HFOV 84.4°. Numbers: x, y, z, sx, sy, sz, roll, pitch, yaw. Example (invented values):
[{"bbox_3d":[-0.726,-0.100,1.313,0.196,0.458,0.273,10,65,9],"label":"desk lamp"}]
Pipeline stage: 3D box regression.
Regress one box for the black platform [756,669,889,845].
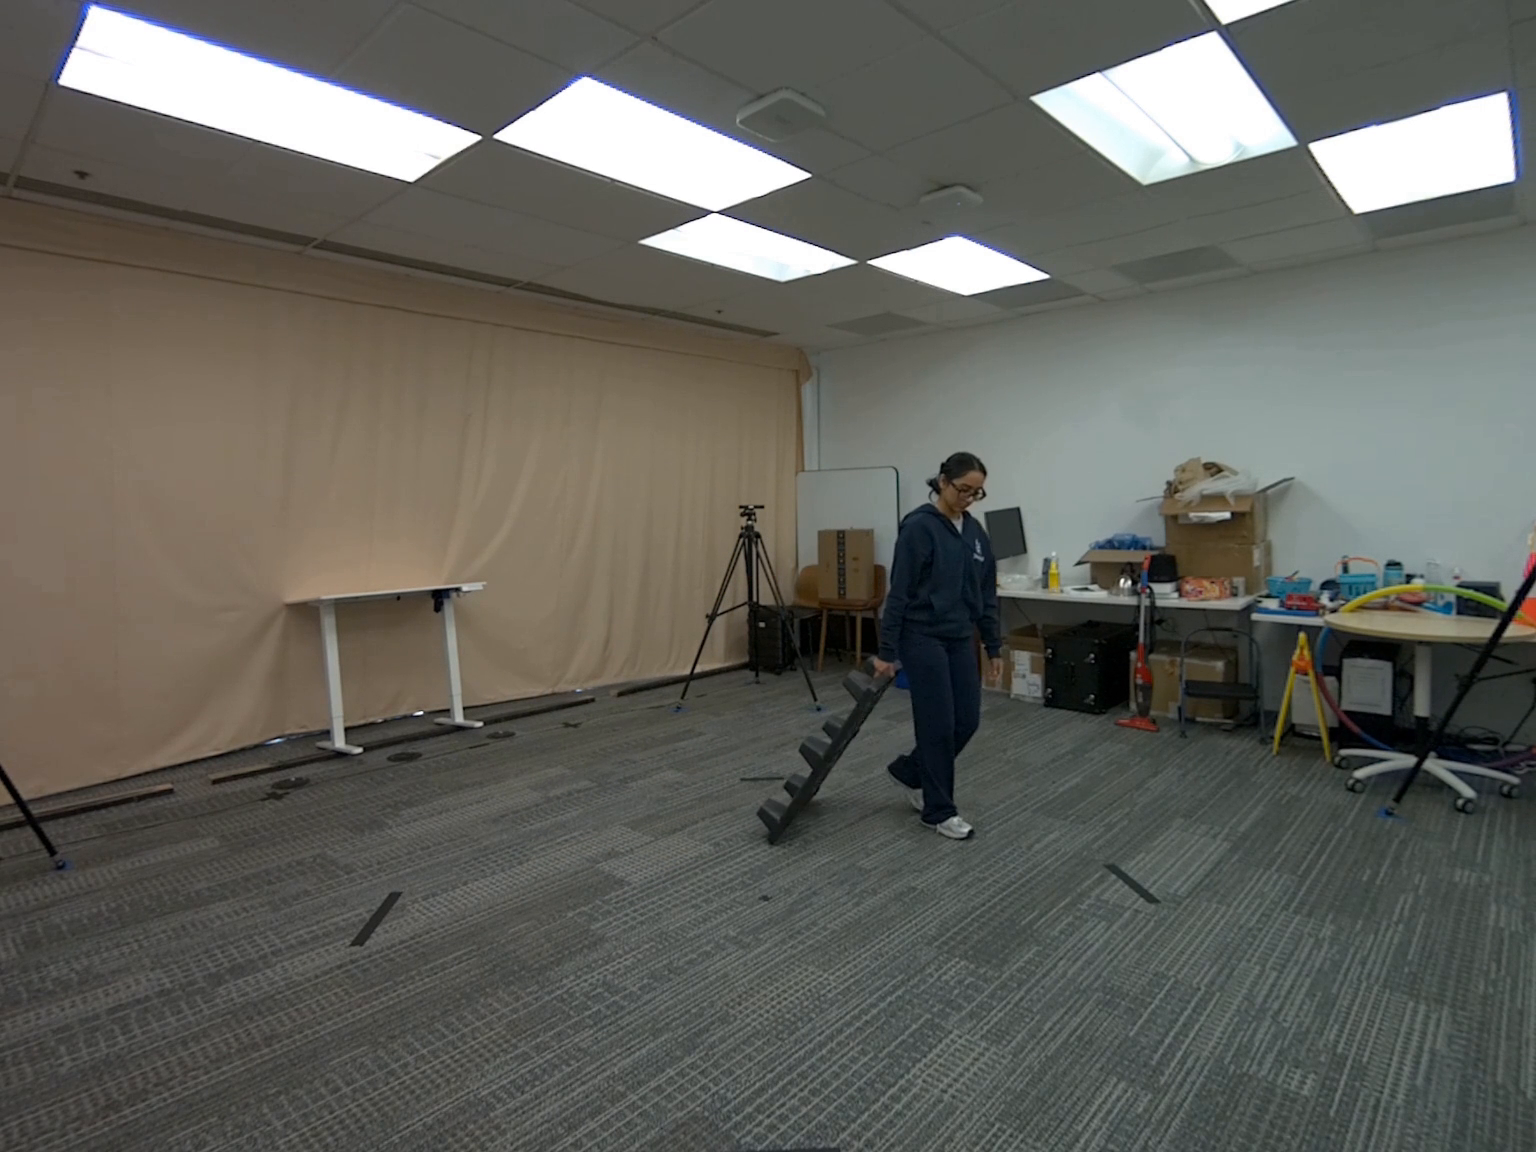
[{"bbox_3d":[0.261,0.719,3.626,0.146,0.805,0.593,35,14,14],"label":"black platform"}]
